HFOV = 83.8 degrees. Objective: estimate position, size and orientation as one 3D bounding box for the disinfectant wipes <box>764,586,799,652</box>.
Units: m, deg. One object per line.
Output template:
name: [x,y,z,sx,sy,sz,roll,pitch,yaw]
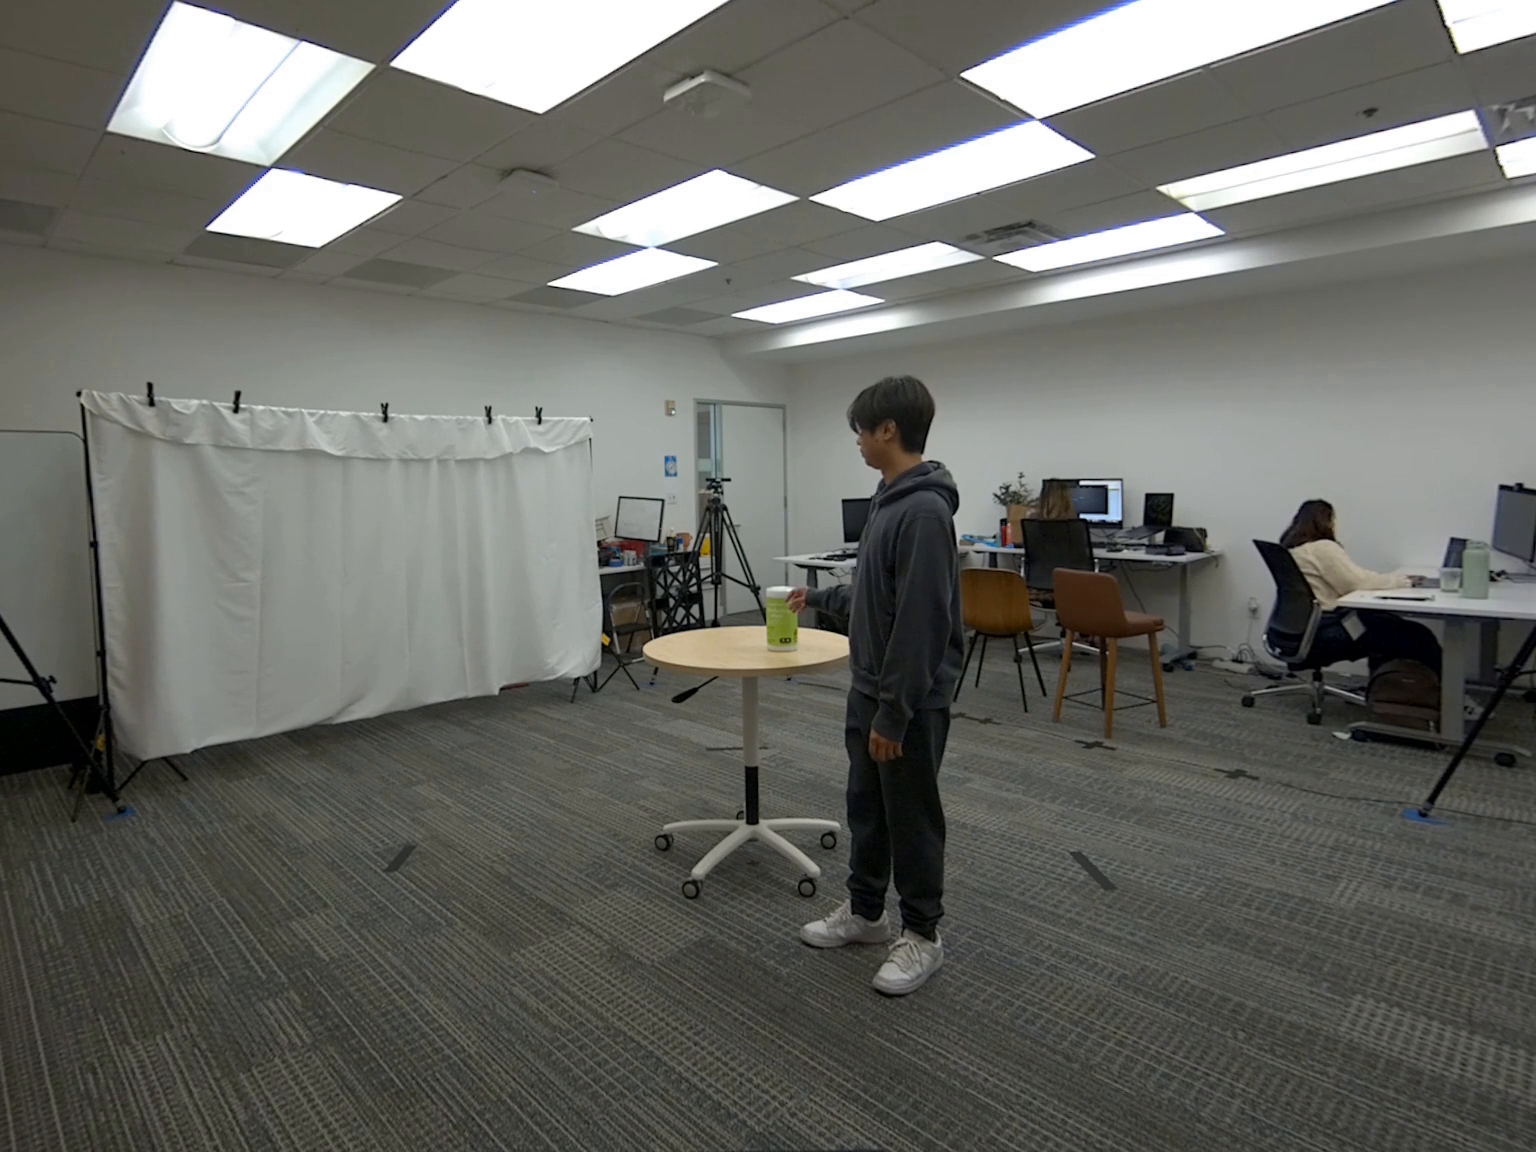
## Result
disinfectant wipes: [0.048,0.151,2.991,0.118,0.216,0.118,-1,6,-2]
